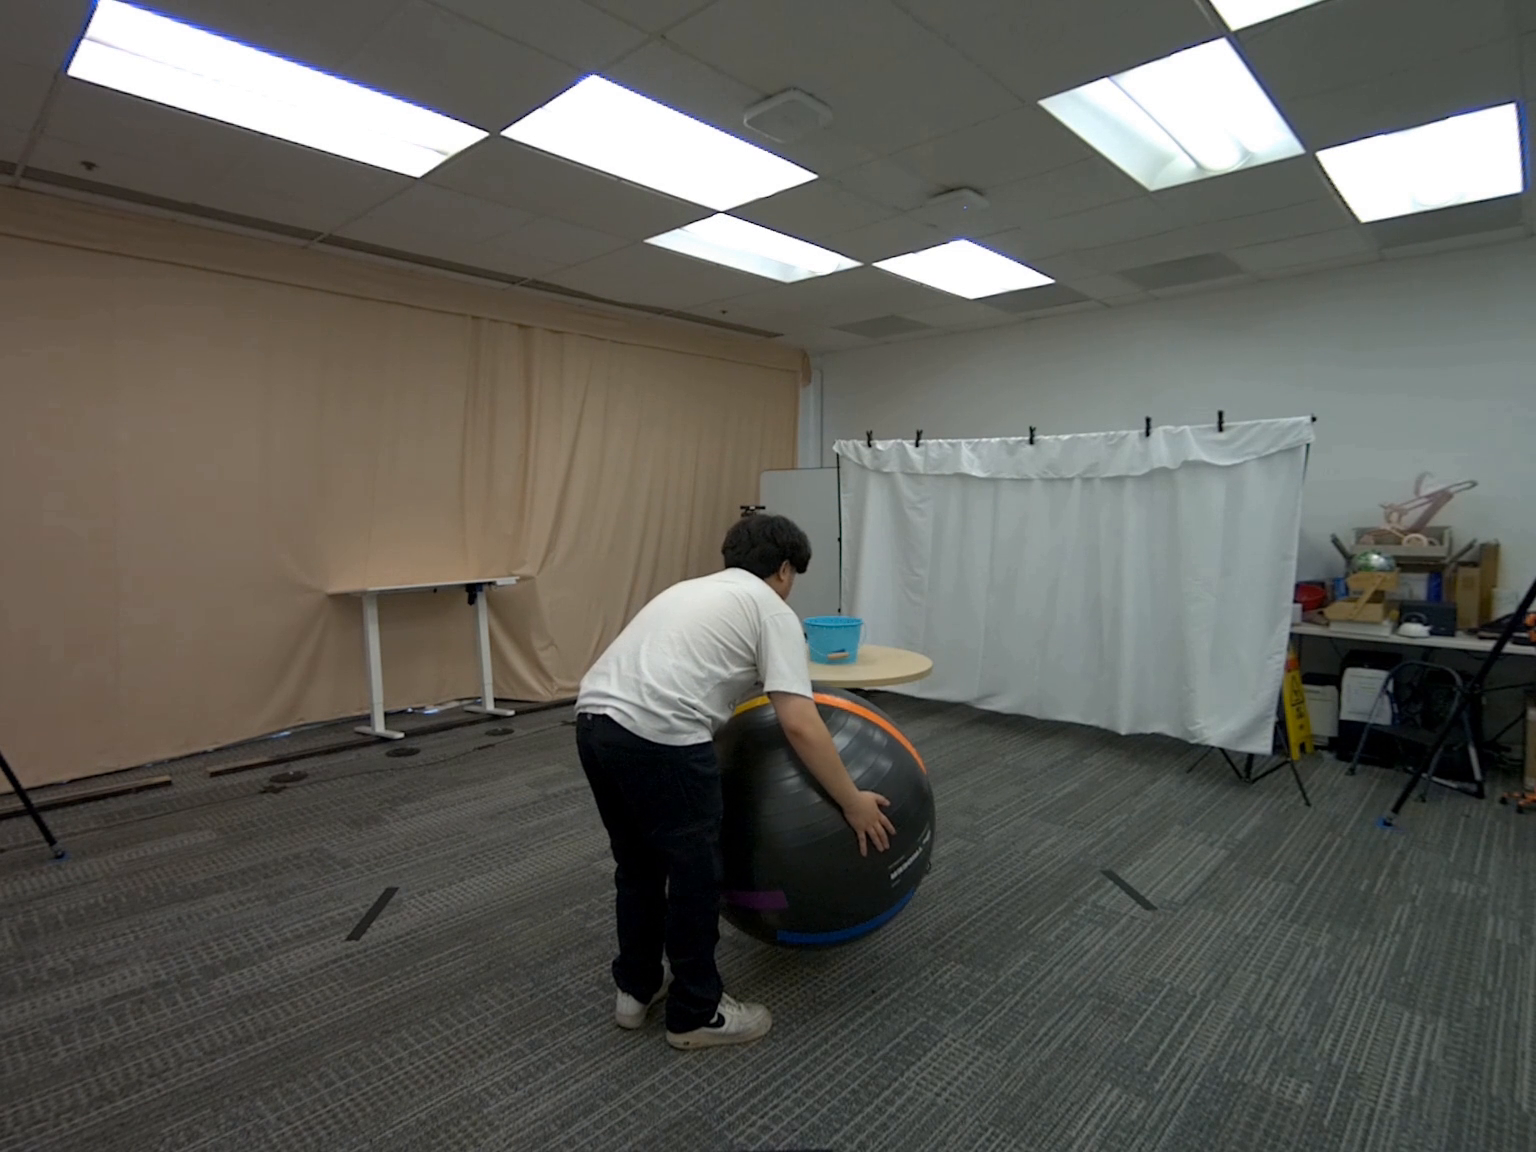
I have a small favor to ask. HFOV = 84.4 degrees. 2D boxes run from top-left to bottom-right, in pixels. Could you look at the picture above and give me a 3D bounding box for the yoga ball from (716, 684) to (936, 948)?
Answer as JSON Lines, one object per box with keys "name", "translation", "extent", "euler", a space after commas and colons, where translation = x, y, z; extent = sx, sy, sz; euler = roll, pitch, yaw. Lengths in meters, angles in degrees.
{"name": "yoga ball", "translation": [0.123, 0.715, 2.506], "extent": [0.757, 0.756, 0.760], "euler": [0, 4, -2]}
